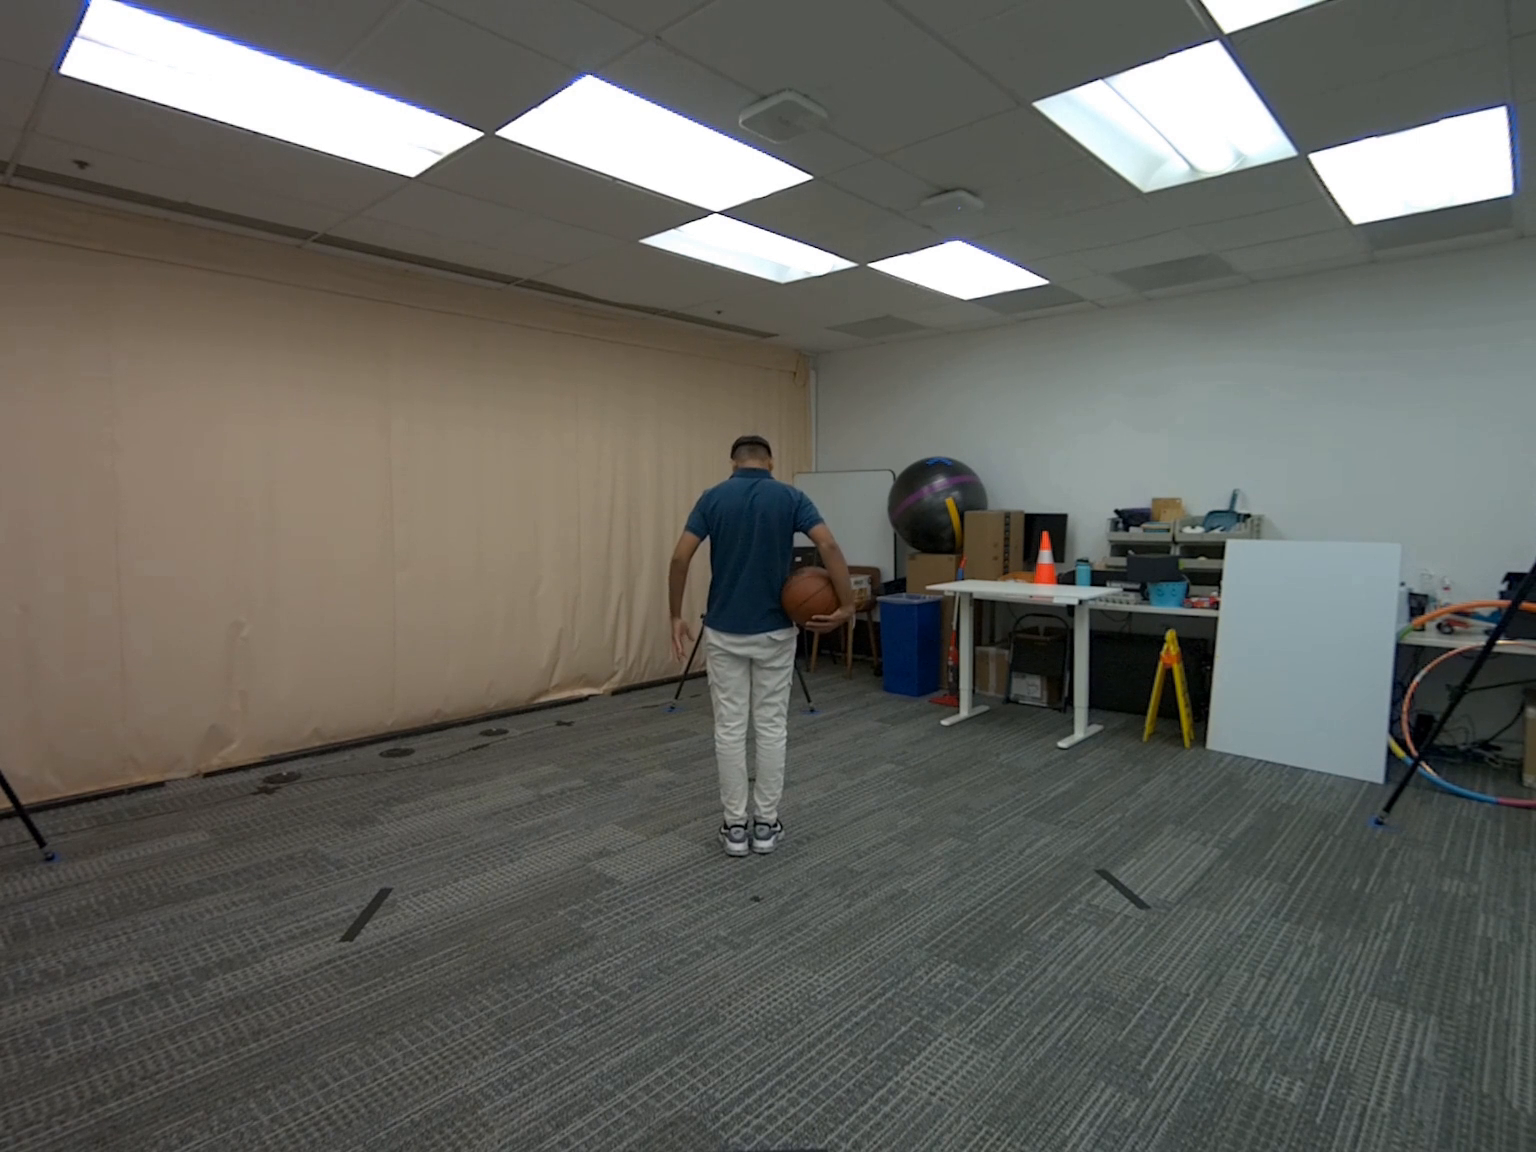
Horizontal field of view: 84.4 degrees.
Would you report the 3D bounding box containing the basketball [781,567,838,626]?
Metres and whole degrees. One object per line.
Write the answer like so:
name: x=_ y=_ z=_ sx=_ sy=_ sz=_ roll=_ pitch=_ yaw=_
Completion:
basketball: x=0.179 y=0.078 z=3.314 sx=0.236 sy=0.235 sz=0.237 roll=0 pitch=4 yaw=-2
